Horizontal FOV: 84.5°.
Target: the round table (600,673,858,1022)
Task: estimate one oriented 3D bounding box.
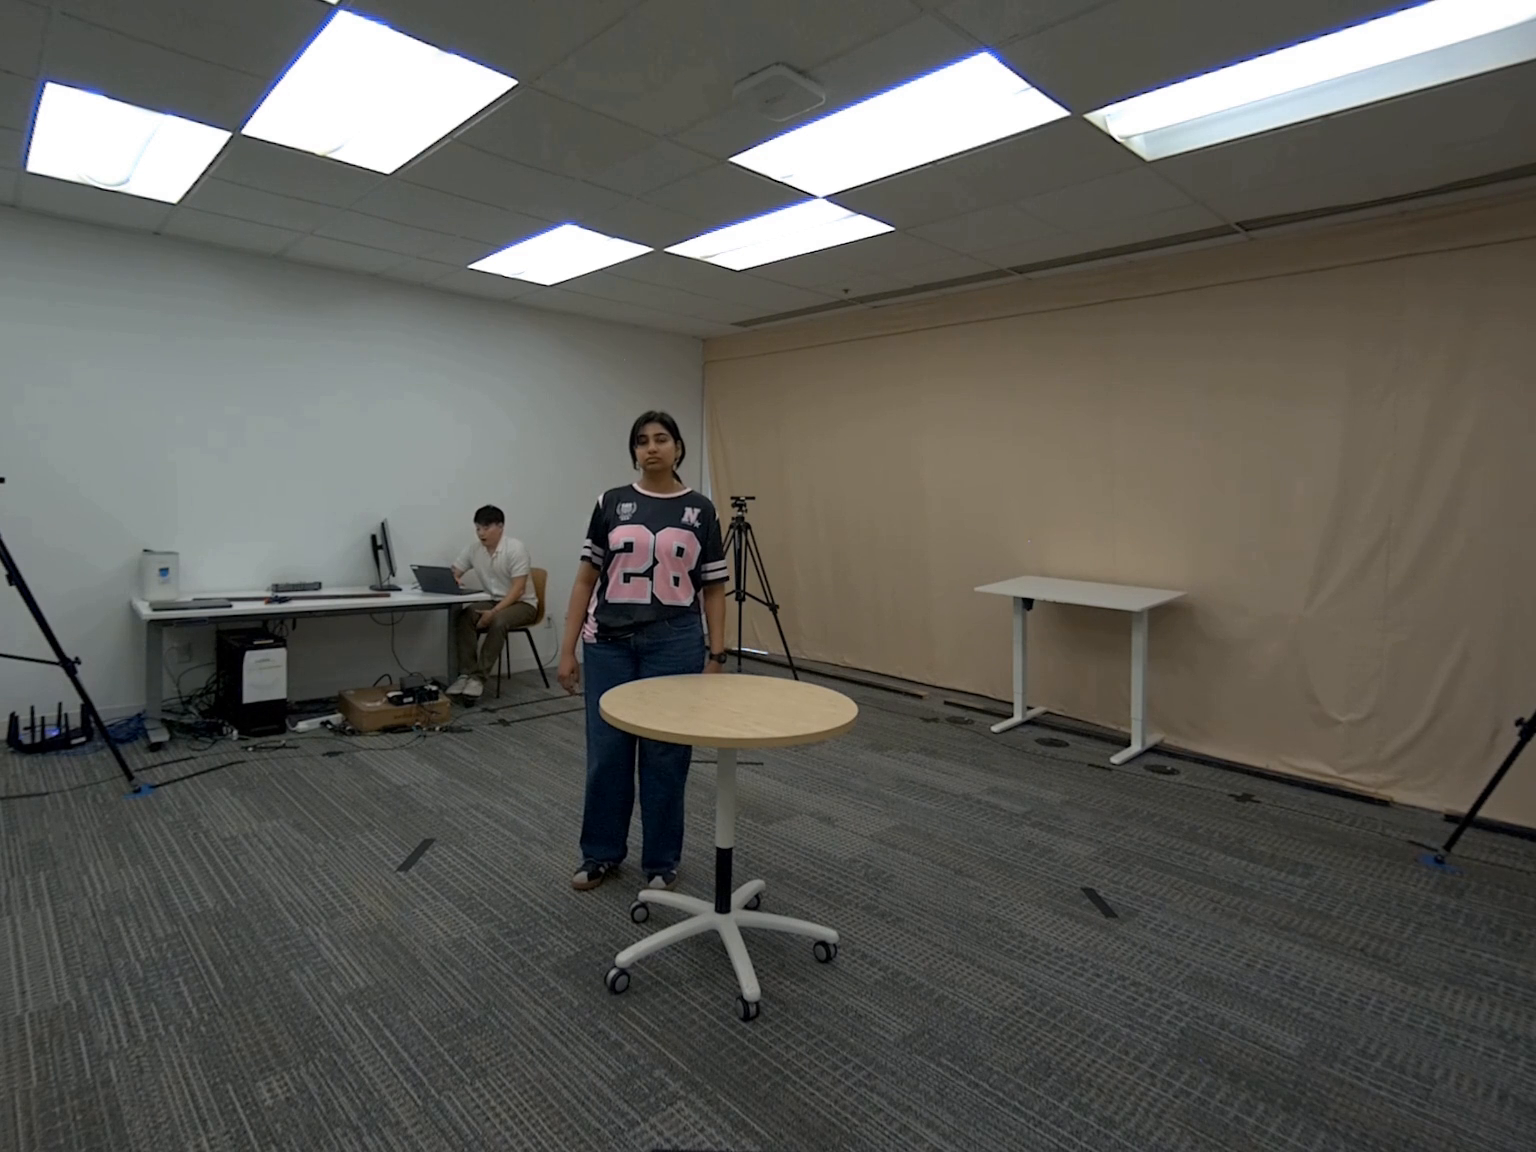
[{"bbox_3d":[-0.138,0.768,2.534,0.763,0.791,0.767,2,5,-2],"label":"round table"}]
